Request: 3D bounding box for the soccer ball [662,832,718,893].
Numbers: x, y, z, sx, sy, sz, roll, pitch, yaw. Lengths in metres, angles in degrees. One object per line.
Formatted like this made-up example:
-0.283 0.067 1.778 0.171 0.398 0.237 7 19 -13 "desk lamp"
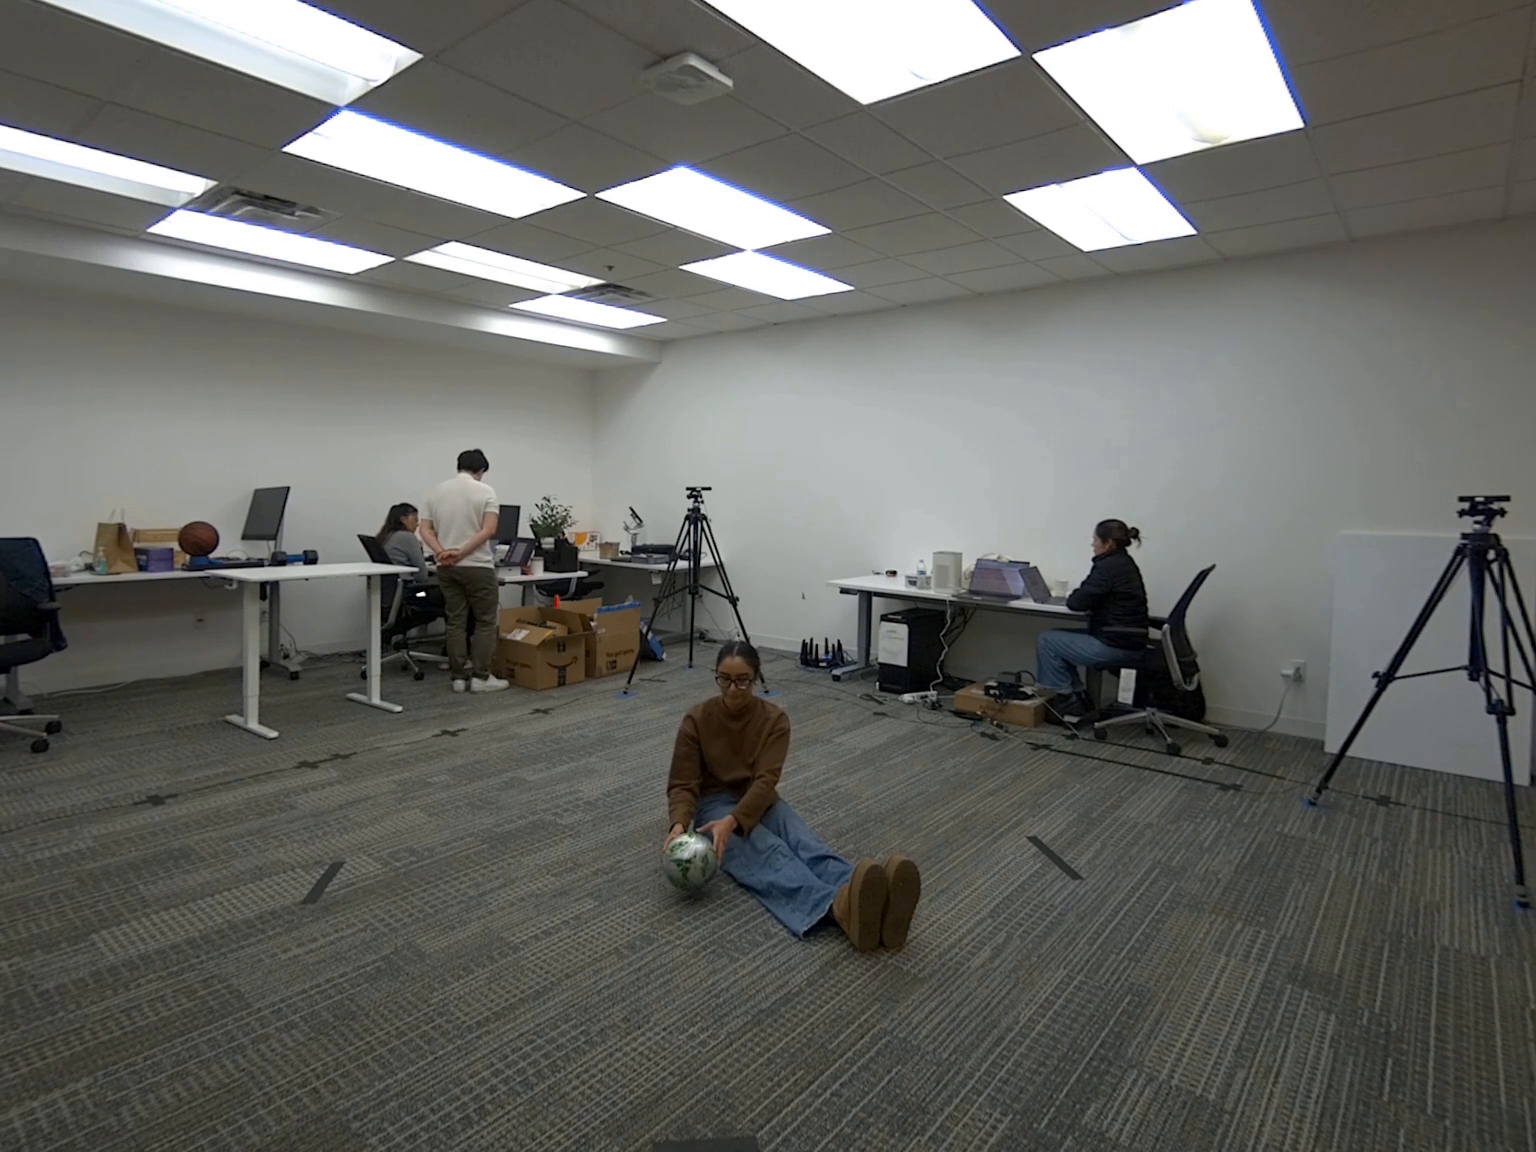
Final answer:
-0.269 0.953 2.881 0.187 0.187 0.188 1 4 -2 "soccer ball"
